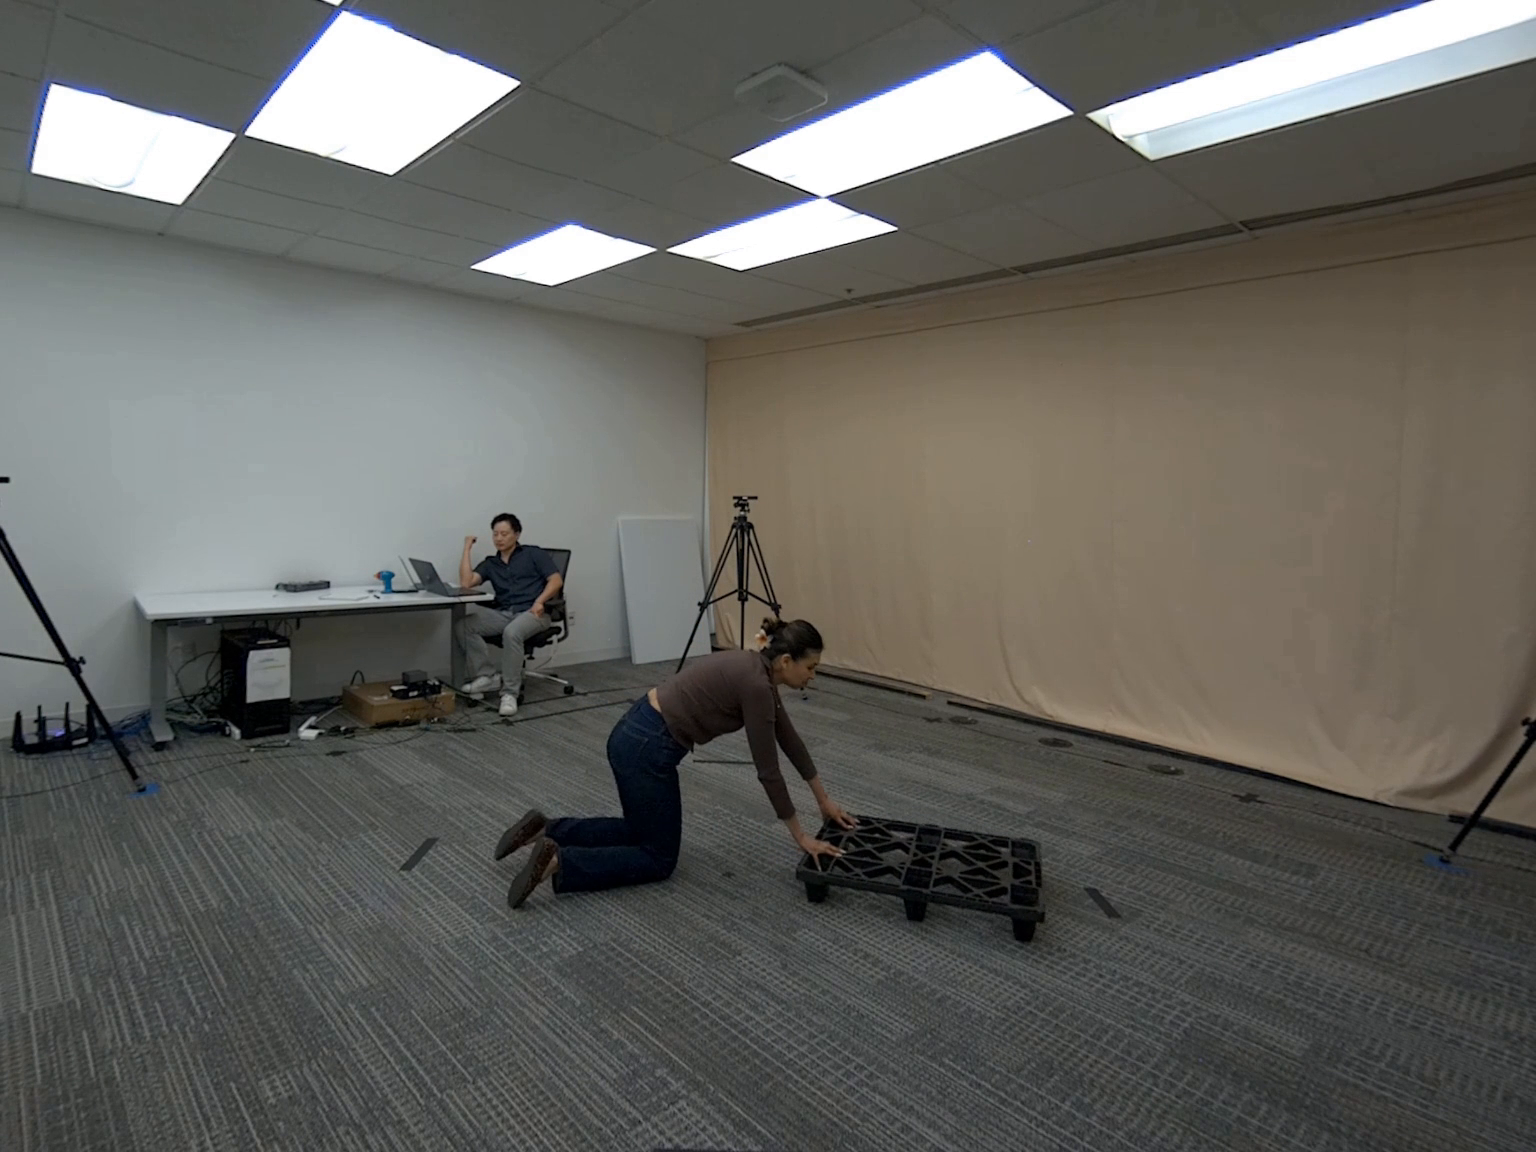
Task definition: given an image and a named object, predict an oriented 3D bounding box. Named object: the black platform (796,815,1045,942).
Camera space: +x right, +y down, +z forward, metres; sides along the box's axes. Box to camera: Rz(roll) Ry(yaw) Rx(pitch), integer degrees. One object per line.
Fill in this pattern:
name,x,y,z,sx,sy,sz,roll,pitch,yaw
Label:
black platform,0.539,1.060,3.010,0.817,0.143,0.598,3,4,17
